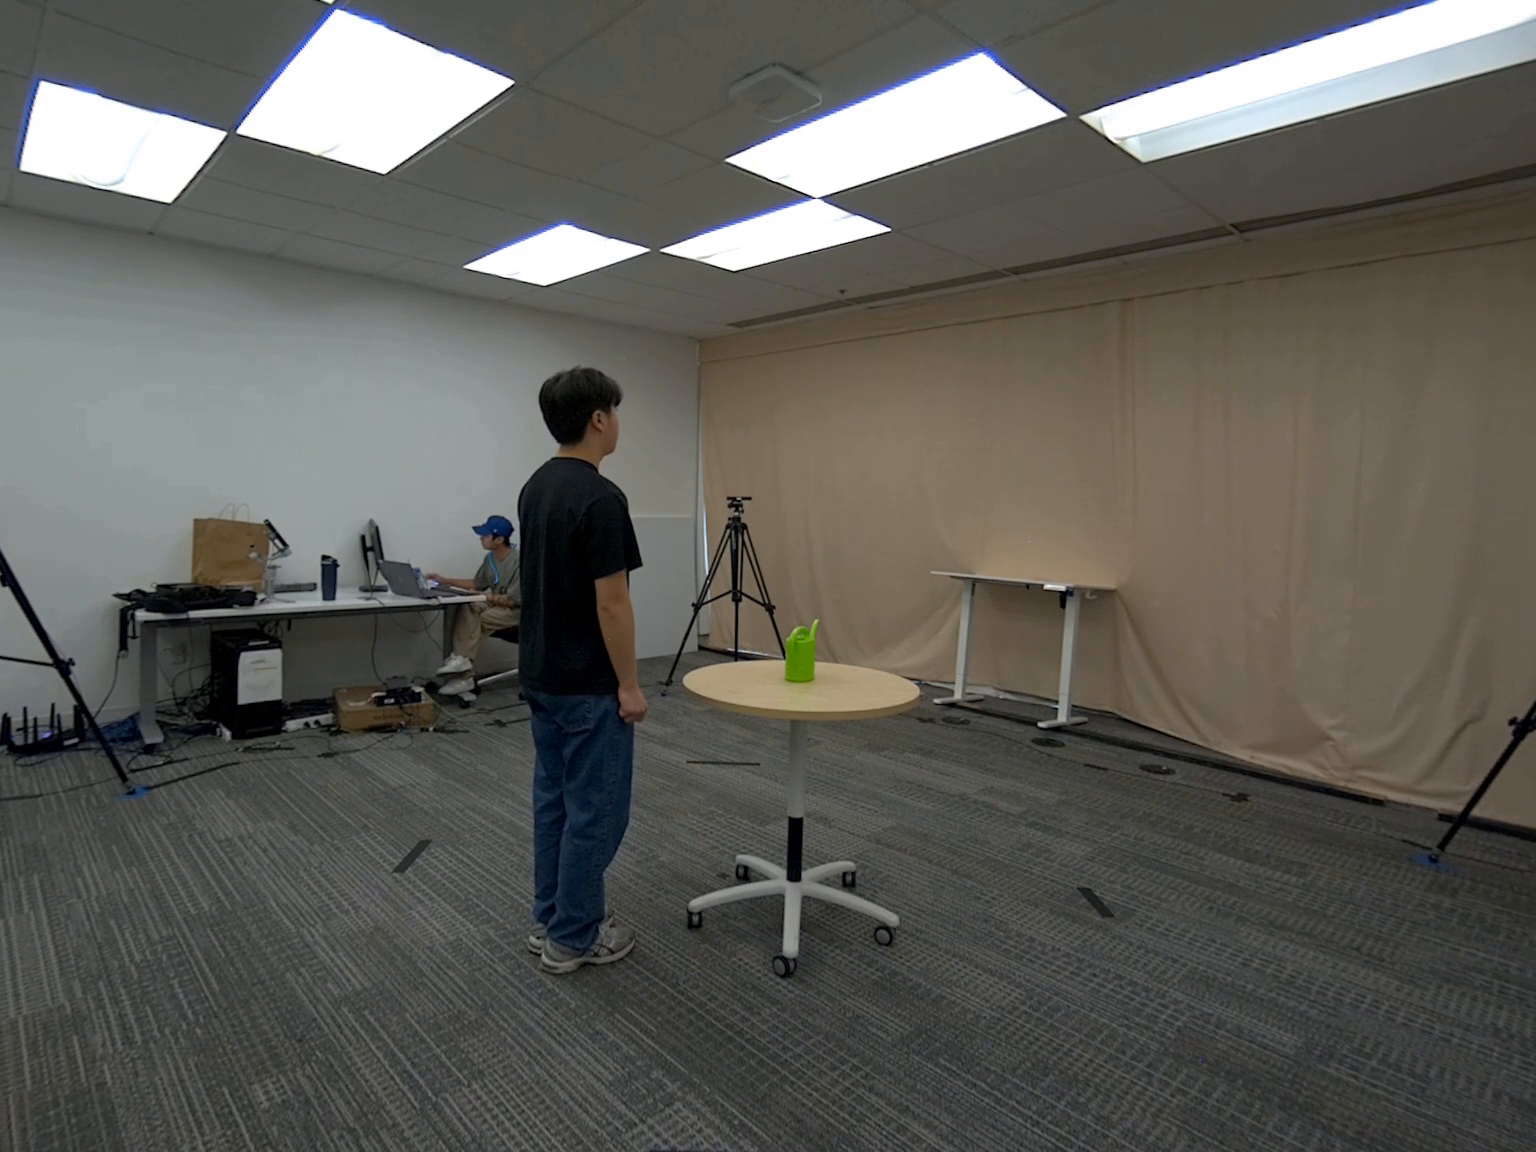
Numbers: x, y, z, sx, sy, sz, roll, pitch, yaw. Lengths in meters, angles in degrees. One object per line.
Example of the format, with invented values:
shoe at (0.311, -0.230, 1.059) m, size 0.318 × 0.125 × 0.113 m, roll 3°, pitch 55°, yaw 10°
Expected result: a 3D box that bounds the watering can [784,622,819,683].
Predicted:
watering can at (0.125, 0.254, 2.828) m, size 0.100 × 0.176 × 0.273 m, roll 5°, pitch 7°, yaw 34°
